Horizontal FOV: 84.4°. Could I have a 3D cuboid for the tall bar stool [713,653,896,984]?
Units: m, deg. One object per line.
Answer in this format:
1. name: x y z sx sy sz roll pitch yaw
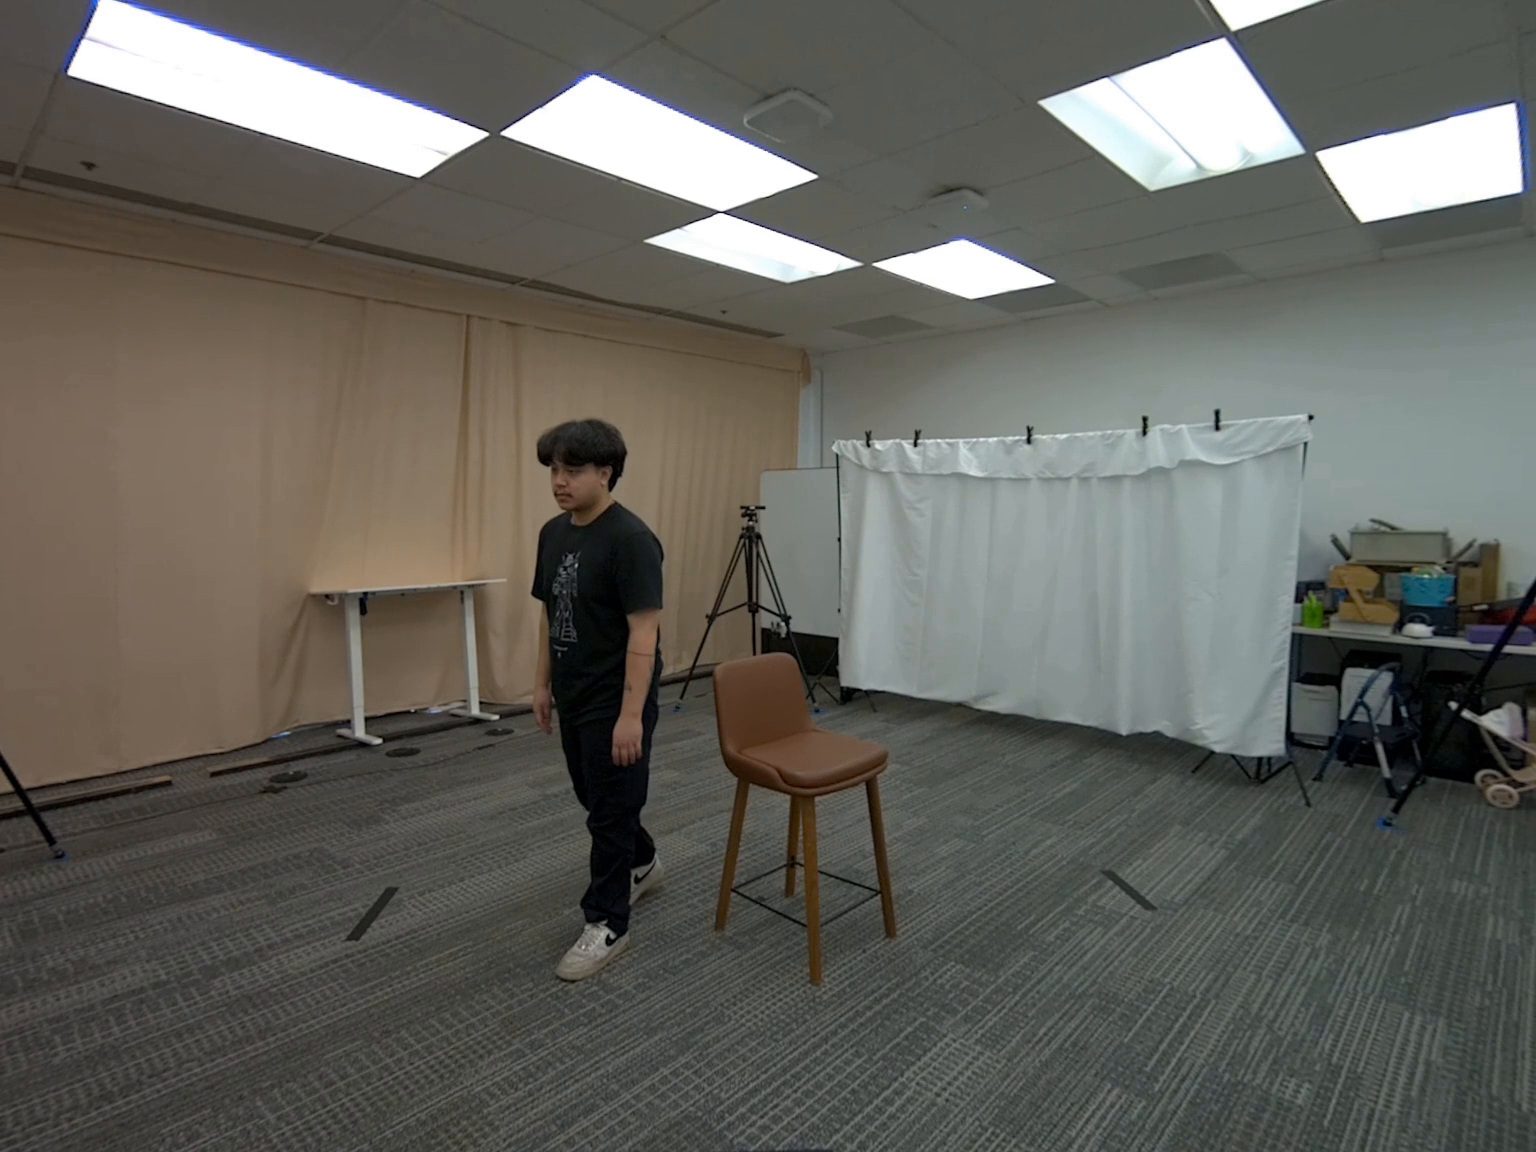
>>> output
1. tall bar stool: 0.113 0.732 2.722 0.483 0.888 0.442 1 3 45
